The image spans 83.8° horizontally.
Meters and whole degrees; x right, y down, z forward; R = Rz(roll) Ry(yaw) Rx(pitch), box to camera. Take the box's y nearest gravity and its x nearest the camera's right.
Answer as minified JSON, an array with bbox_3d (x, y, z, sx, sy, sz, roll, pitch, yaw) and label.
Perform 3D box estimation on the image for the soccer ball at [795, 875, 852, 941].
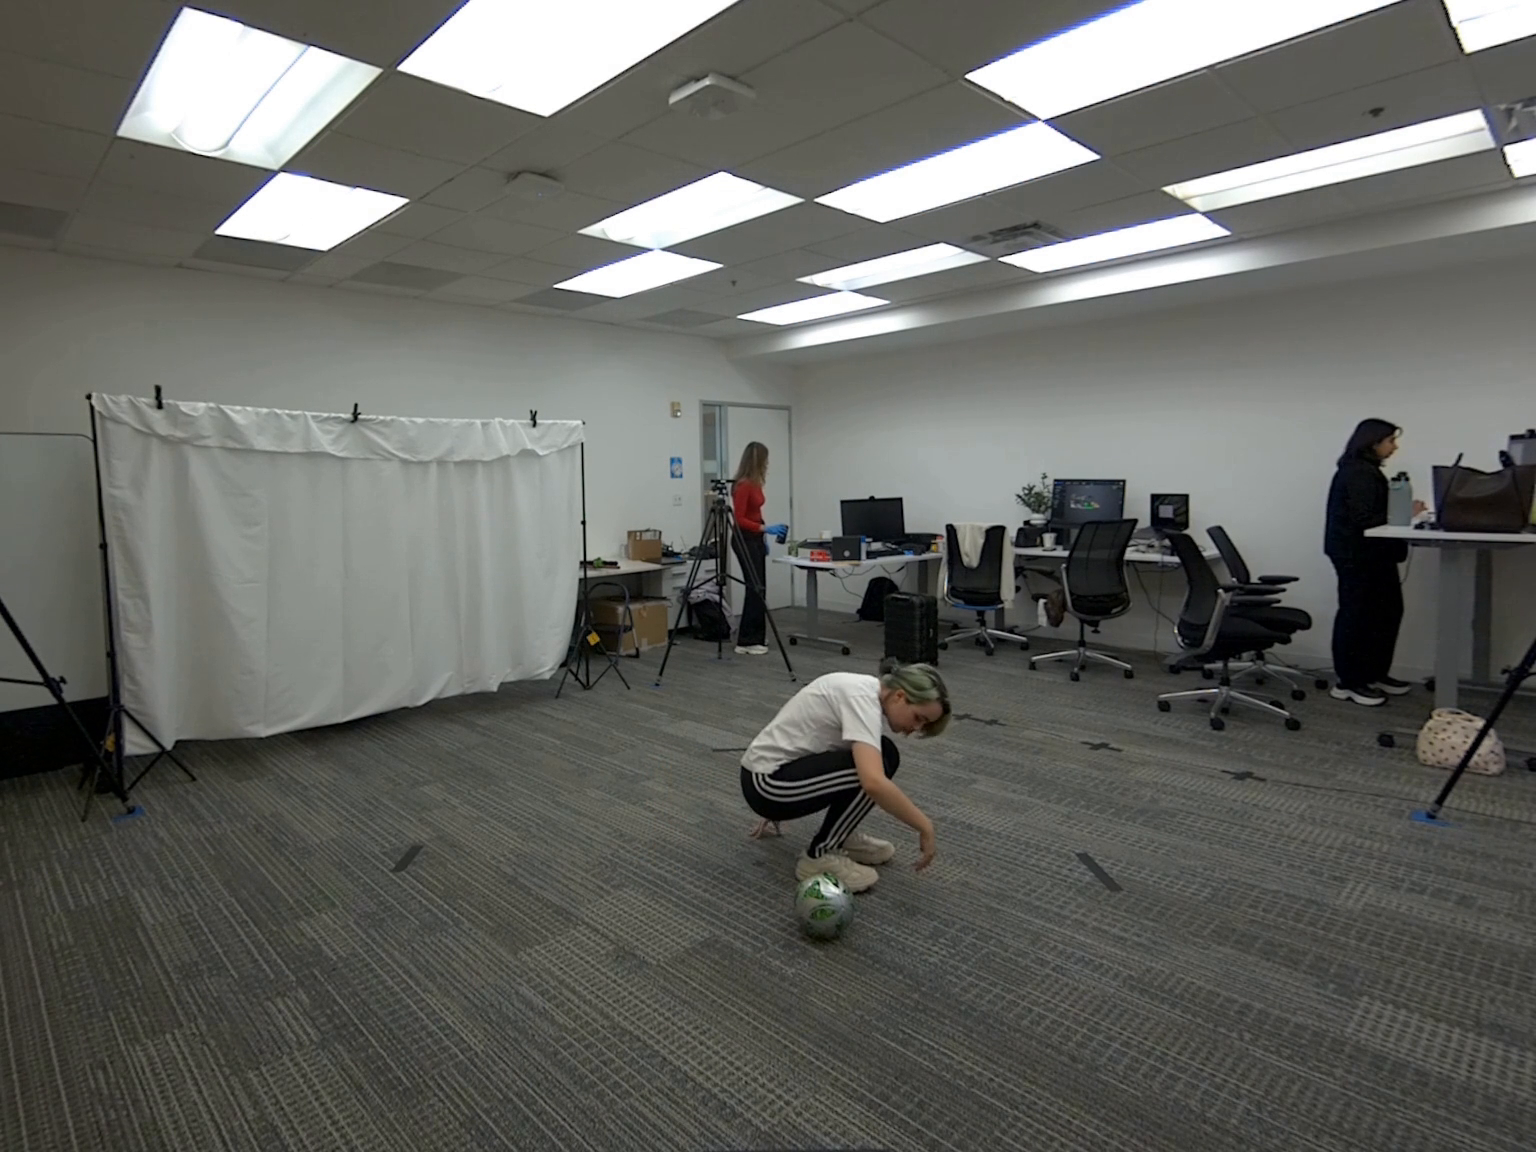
[{"bbox_3d":[0.171,1.012,2.613,0.187,0.187,0.188,-1,5,-2],"label":"soccer ball"}]
